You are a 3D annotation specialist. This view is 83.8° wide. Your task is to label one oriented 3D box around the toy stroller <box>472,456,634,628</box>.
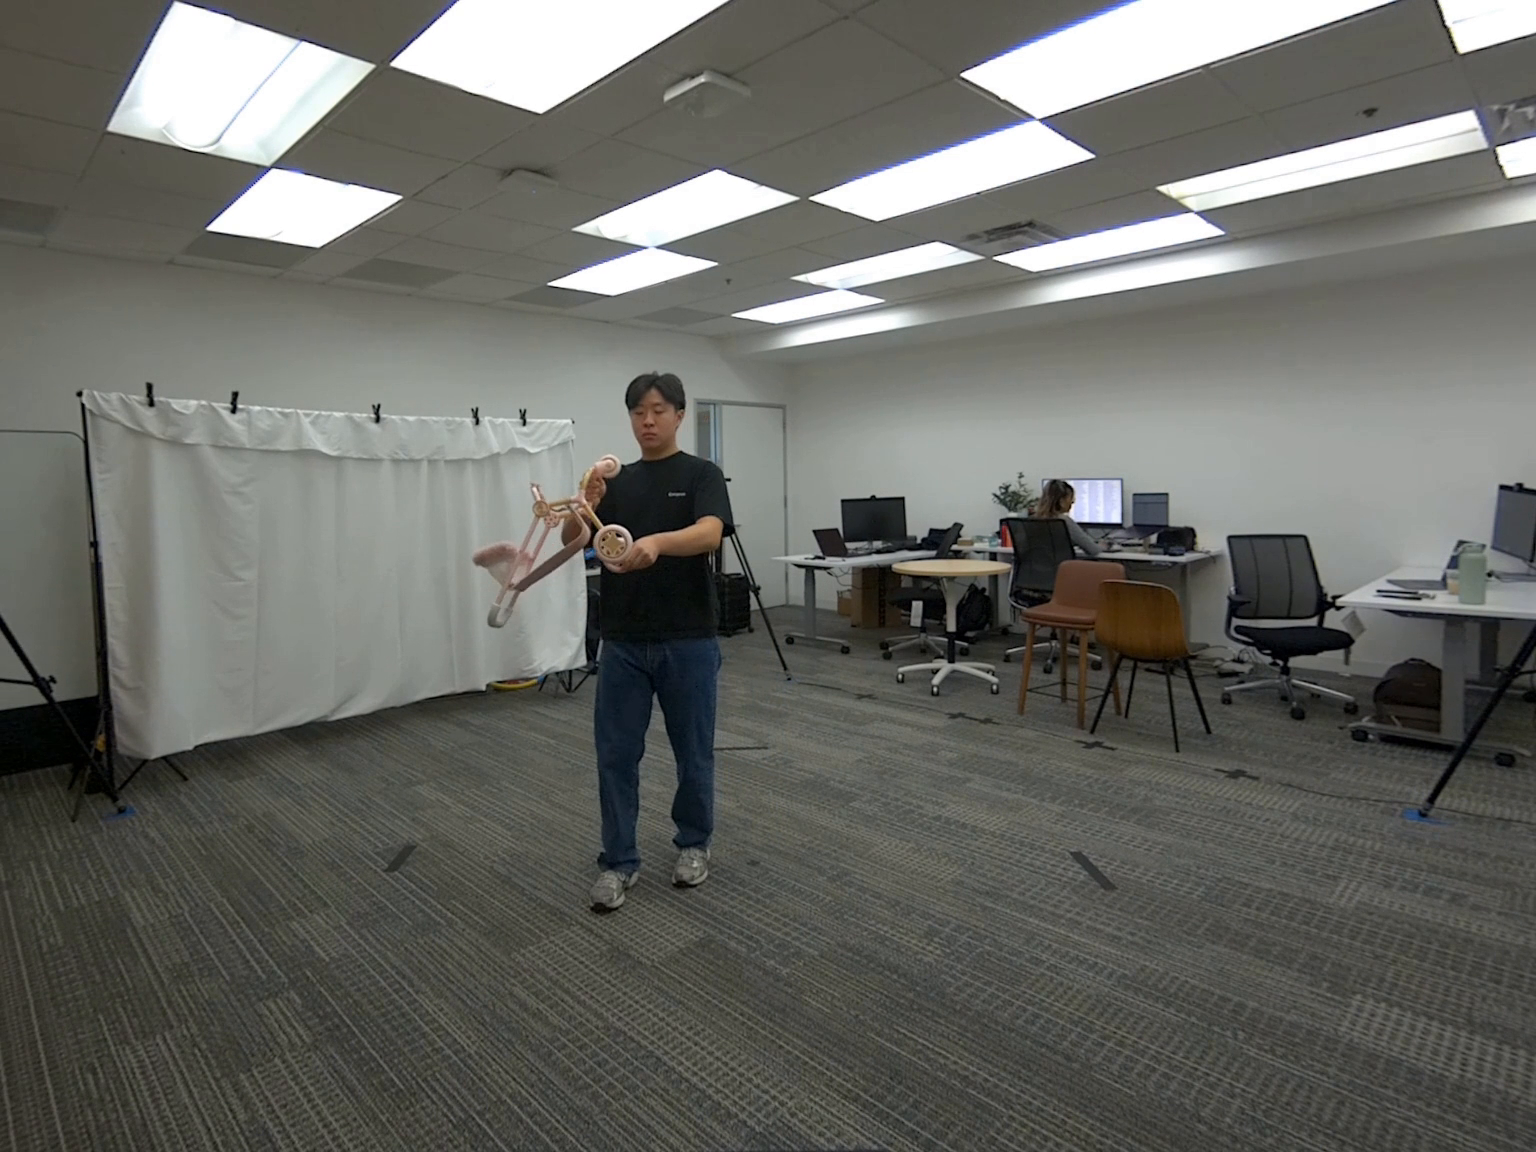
[{"bbox_3d":[-0.625,-0.105,2.508,0.534,0.342,0.282,-25,0,-4],"label":"toy stroller"}]
